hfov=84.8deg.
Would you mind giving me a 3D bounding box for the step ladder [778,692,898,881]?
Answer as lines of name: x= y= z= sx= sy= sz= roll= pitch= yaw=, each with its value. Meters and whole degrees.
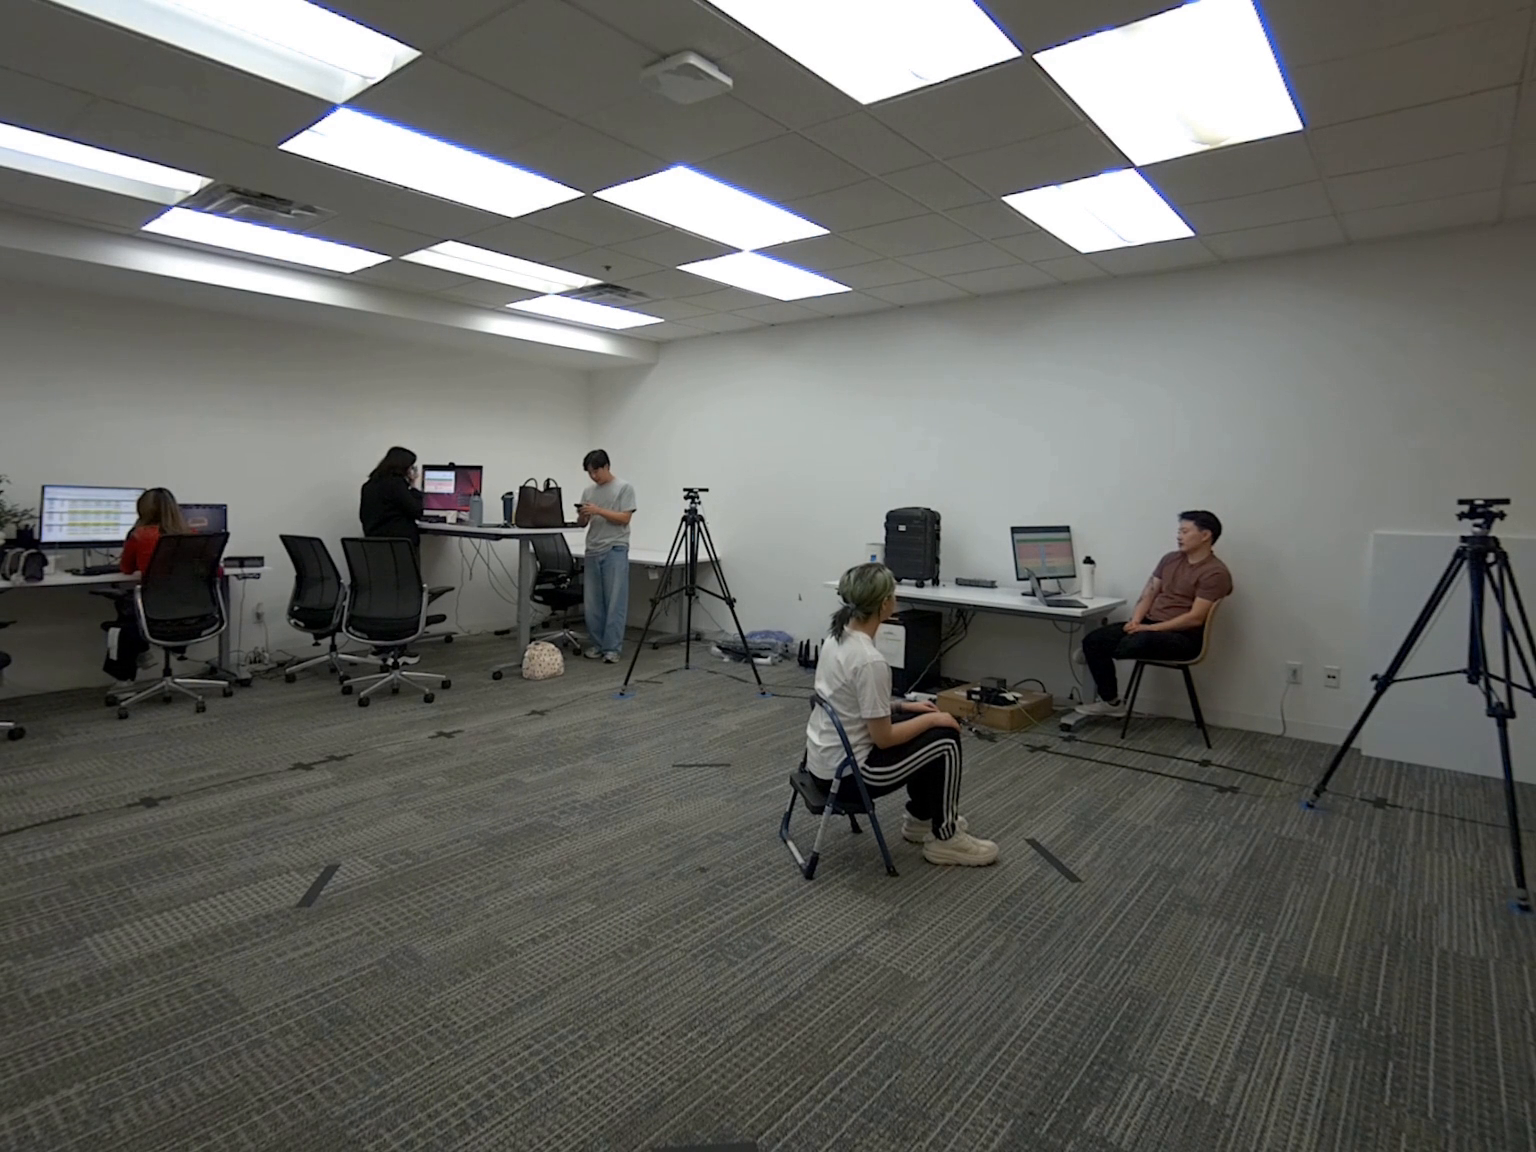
step ladder: x=0.257 y=0.769 z=3.258 sx=0.345 sy=0.604 sz=0.437 roll=2 pitch=4 yaw=-12
